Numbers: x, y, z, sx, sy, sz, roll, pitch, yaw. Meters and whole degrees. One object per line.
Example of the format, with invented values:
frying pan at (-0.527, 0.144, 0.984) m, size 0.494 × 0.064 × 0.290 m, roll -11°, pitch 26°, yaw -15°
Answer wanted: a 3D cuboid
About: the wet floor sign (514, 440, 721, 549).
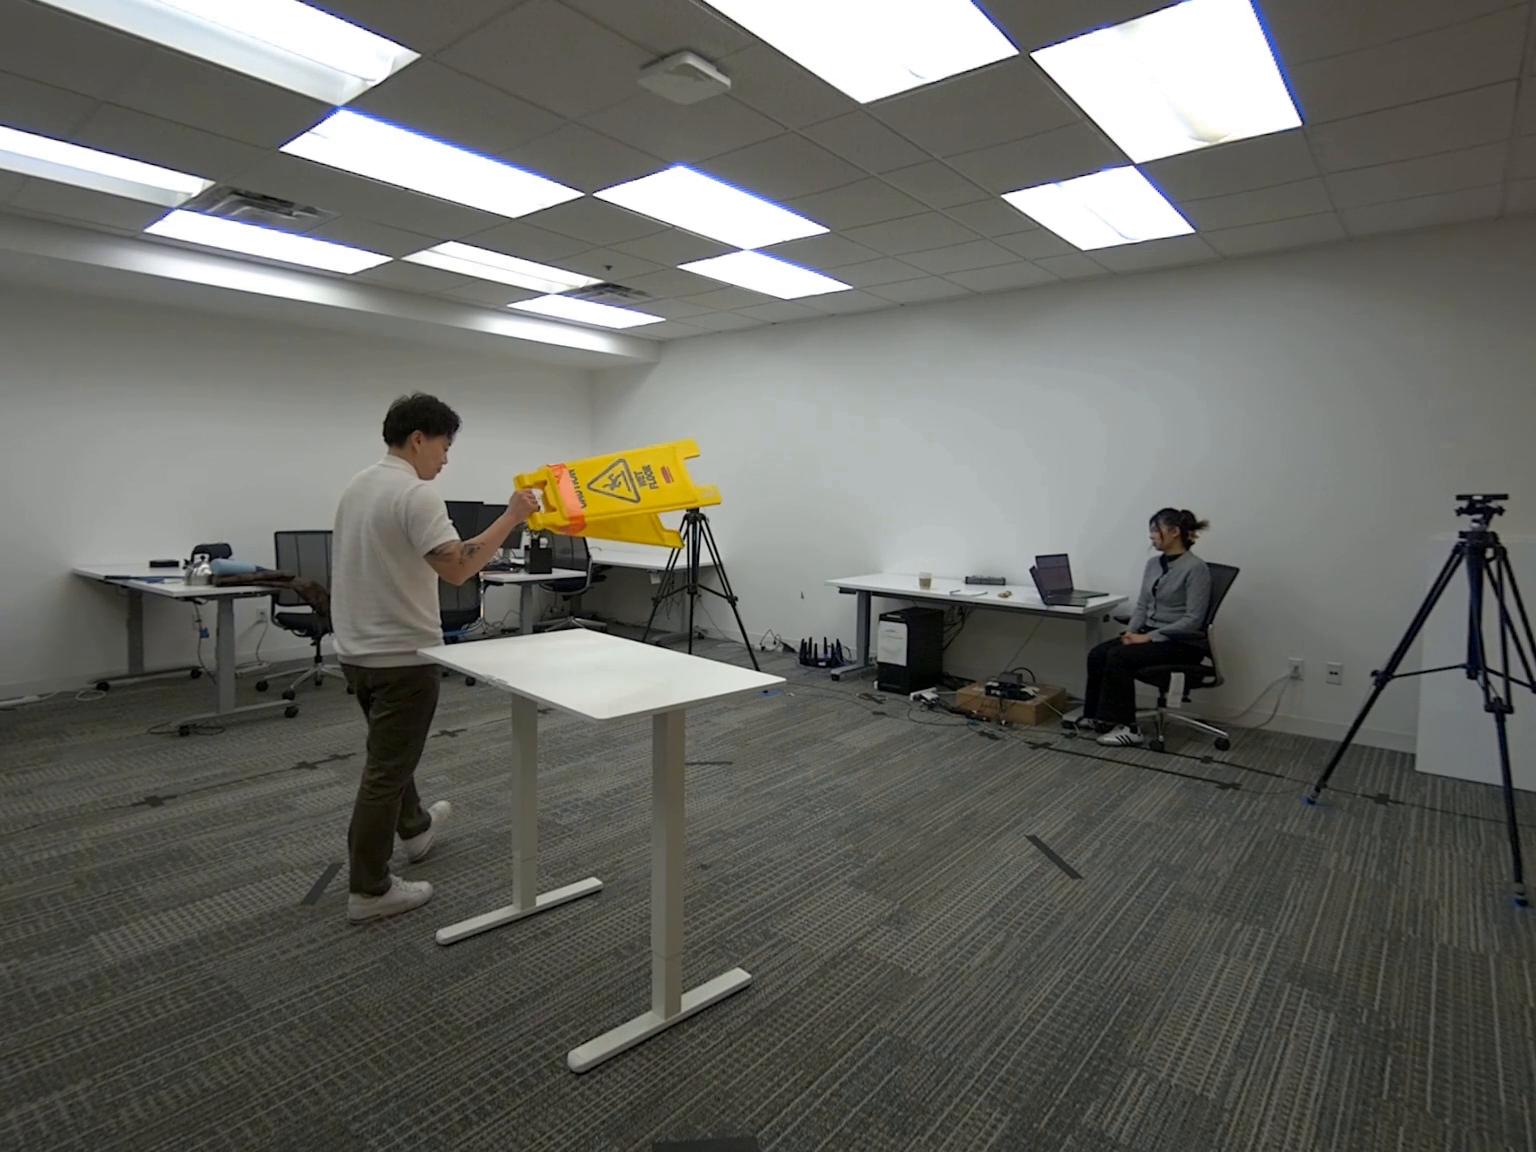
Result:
wet floor sign at (-0.541, -0.270, 2.855) m, size 0.628 × 0.290 × 0.289 m, roll -7°, pitch -28°, yaw -37°
